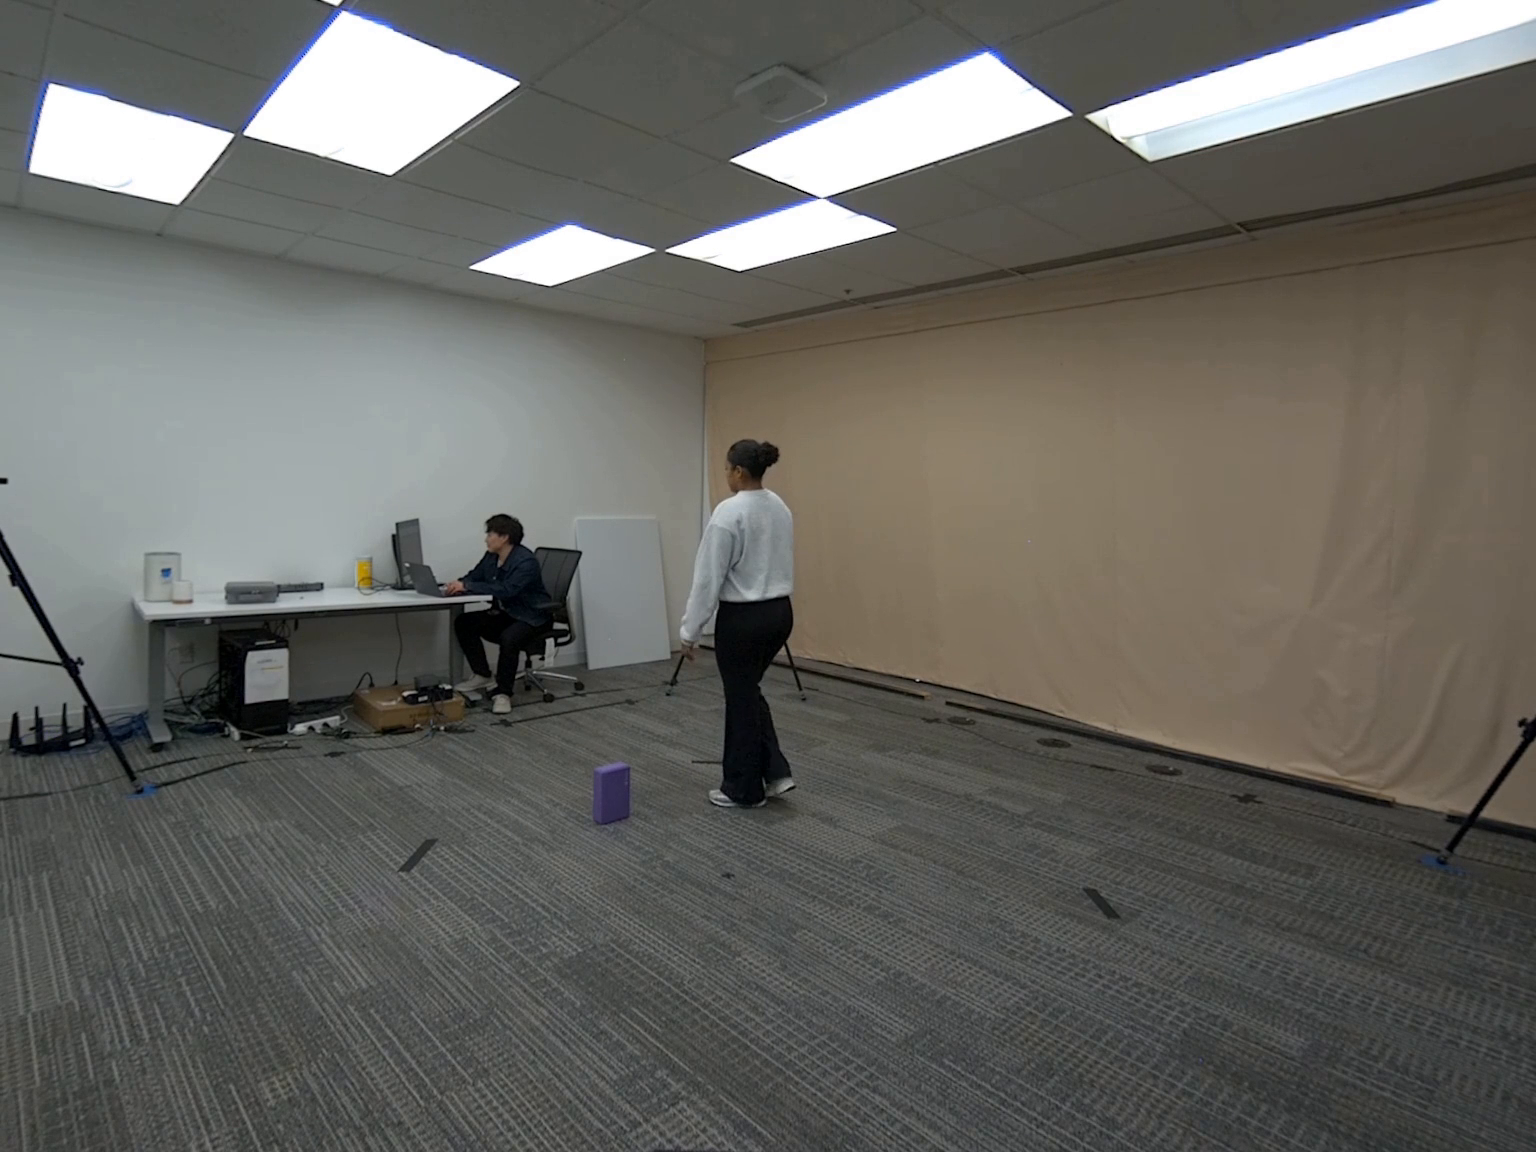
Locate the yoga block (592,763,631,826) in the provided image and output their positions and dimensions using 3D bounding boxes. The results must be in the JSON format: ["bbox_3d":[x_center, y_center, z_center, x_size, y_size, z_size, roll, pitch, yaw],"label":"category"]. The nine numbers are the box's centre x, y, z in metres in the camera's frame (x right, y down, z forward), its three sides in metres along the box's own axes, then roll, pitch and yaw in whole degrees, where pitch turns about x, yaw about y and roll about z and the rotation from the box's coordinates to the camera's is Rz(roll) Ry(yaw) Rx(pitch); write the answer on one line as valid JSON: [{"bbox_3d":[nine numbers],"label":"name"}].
[{"bbox_3d":[-0.678,0.930,3.616,0.145,0.228,0.078,-3,6,-43],"label":"yoga block"}]
